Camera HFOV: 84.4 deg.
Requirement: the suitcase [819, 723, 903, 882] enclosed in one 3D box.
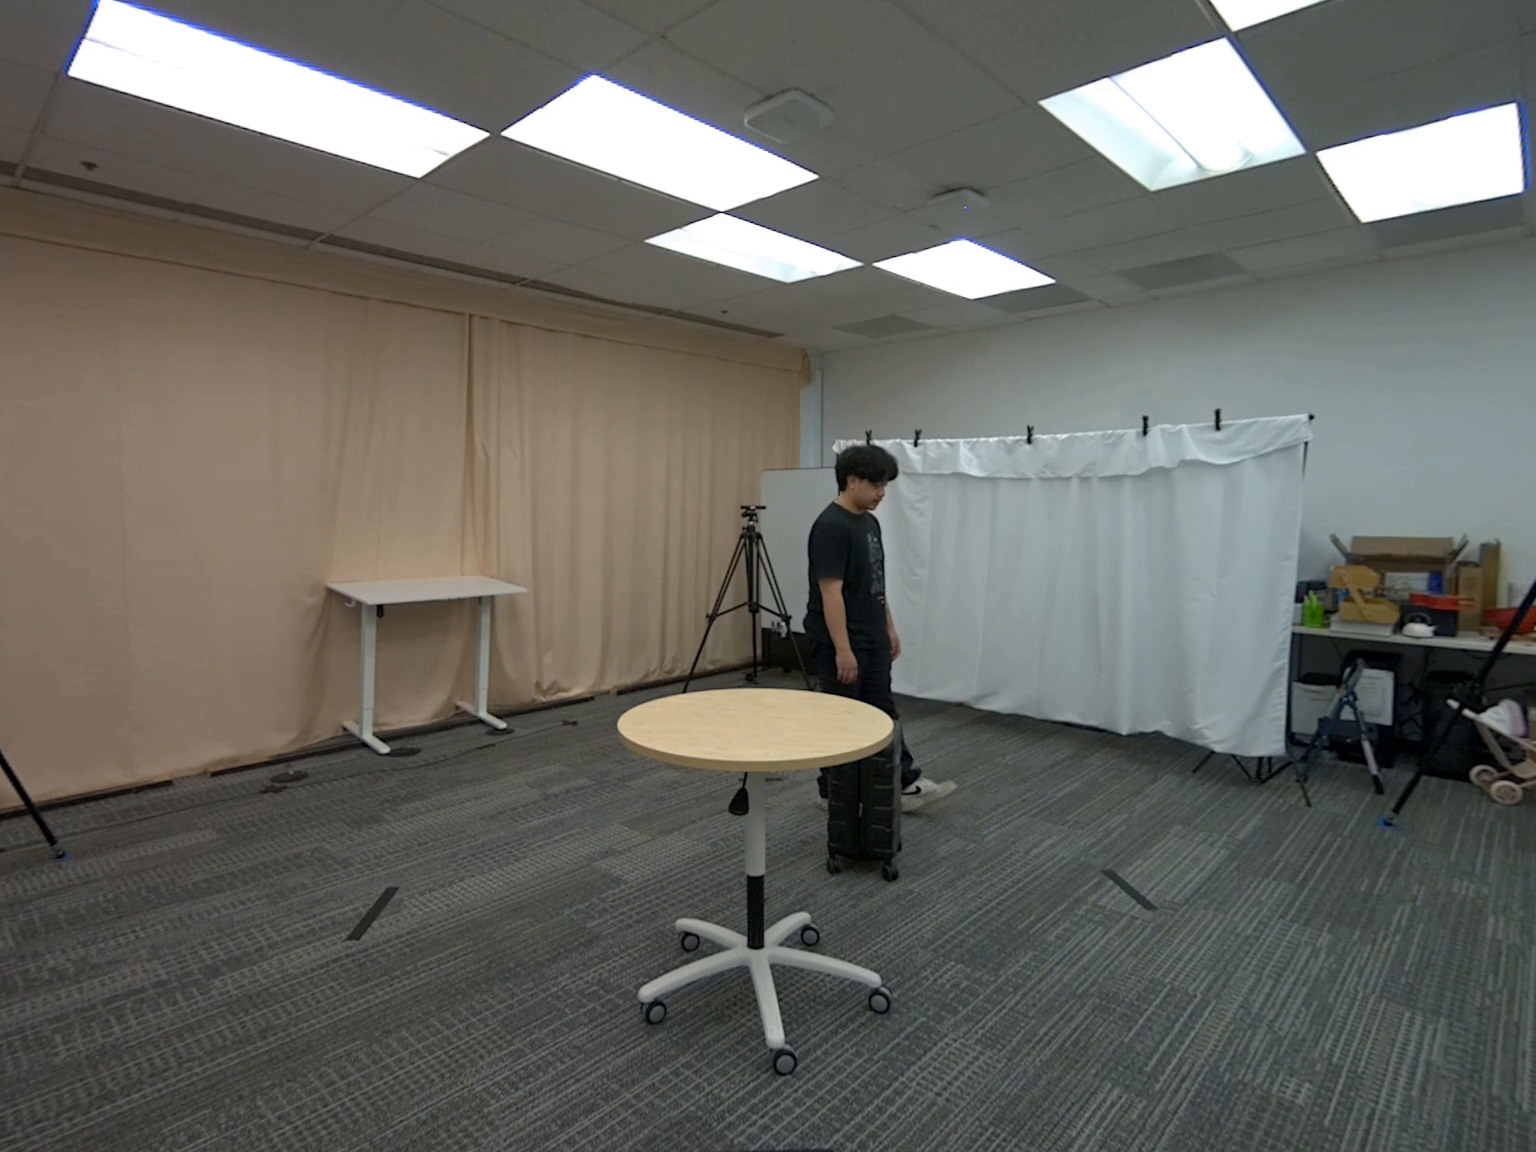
[{"bbox_3d":[0.390,0.846,3.310,0.252,0.549,0.369,1,2,15],"label":"suitcase"}]
